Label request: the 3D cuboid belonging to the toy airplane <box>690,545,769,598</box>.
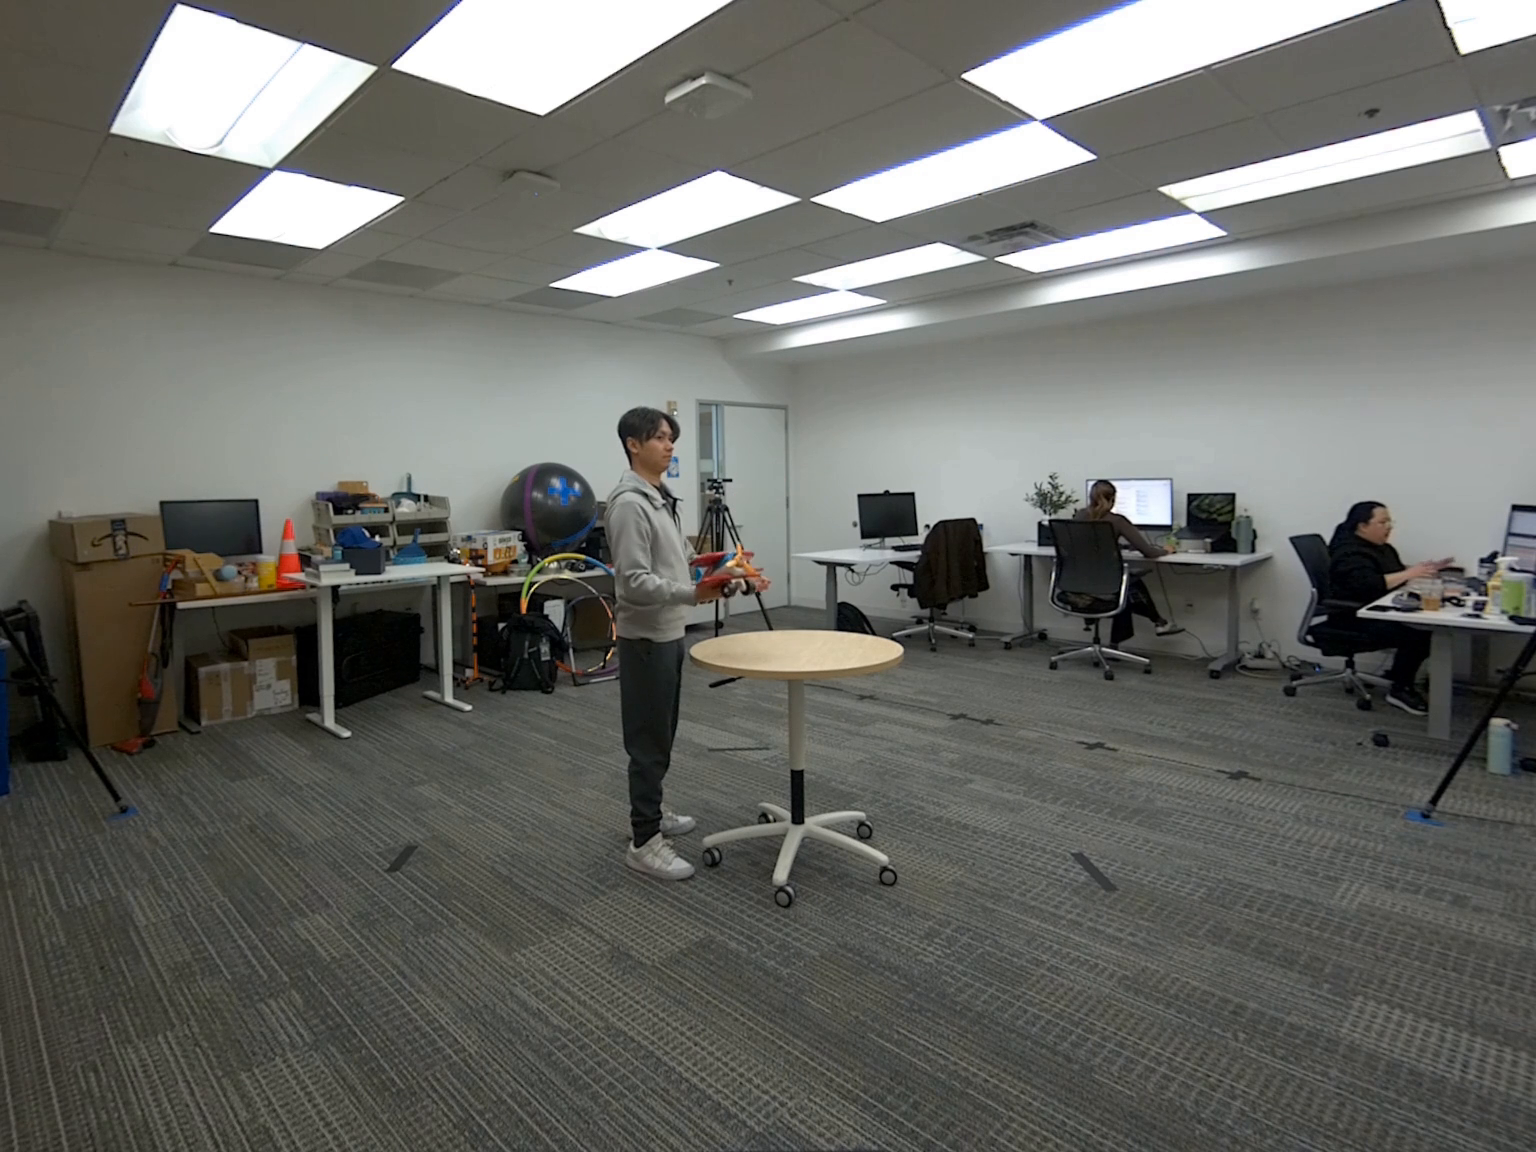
[{"bbox_3d":[-0.166,-0.003,2.872,0.263,0.157,0.246,-10,-4,20],"label":"toy airplane"}]
